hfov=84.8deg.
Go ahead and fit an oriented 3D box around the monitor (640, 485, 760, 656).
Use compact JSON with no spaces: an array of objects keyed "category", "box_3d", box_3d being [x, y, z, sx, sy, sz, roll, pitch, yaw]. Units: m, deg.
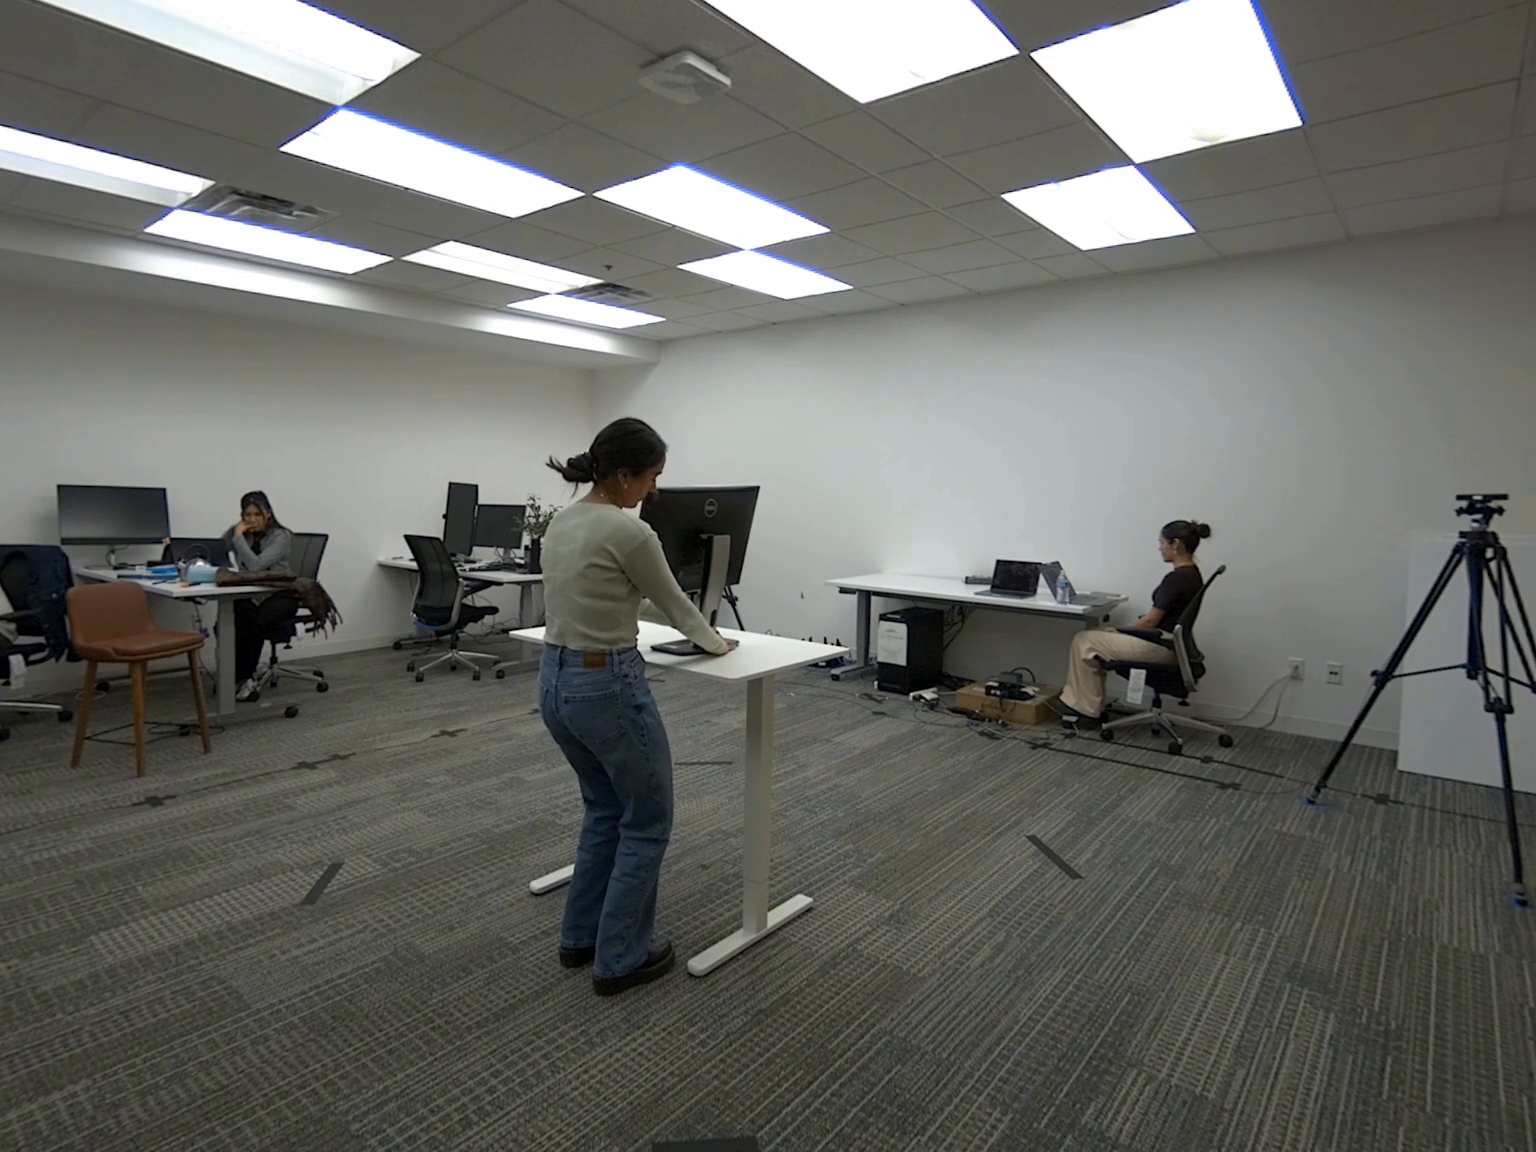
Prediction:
[{"category":"monitor","box_3d":[-0.219,-0.032,2.683,0.180,0.514,0.516,0,5,37]}]
